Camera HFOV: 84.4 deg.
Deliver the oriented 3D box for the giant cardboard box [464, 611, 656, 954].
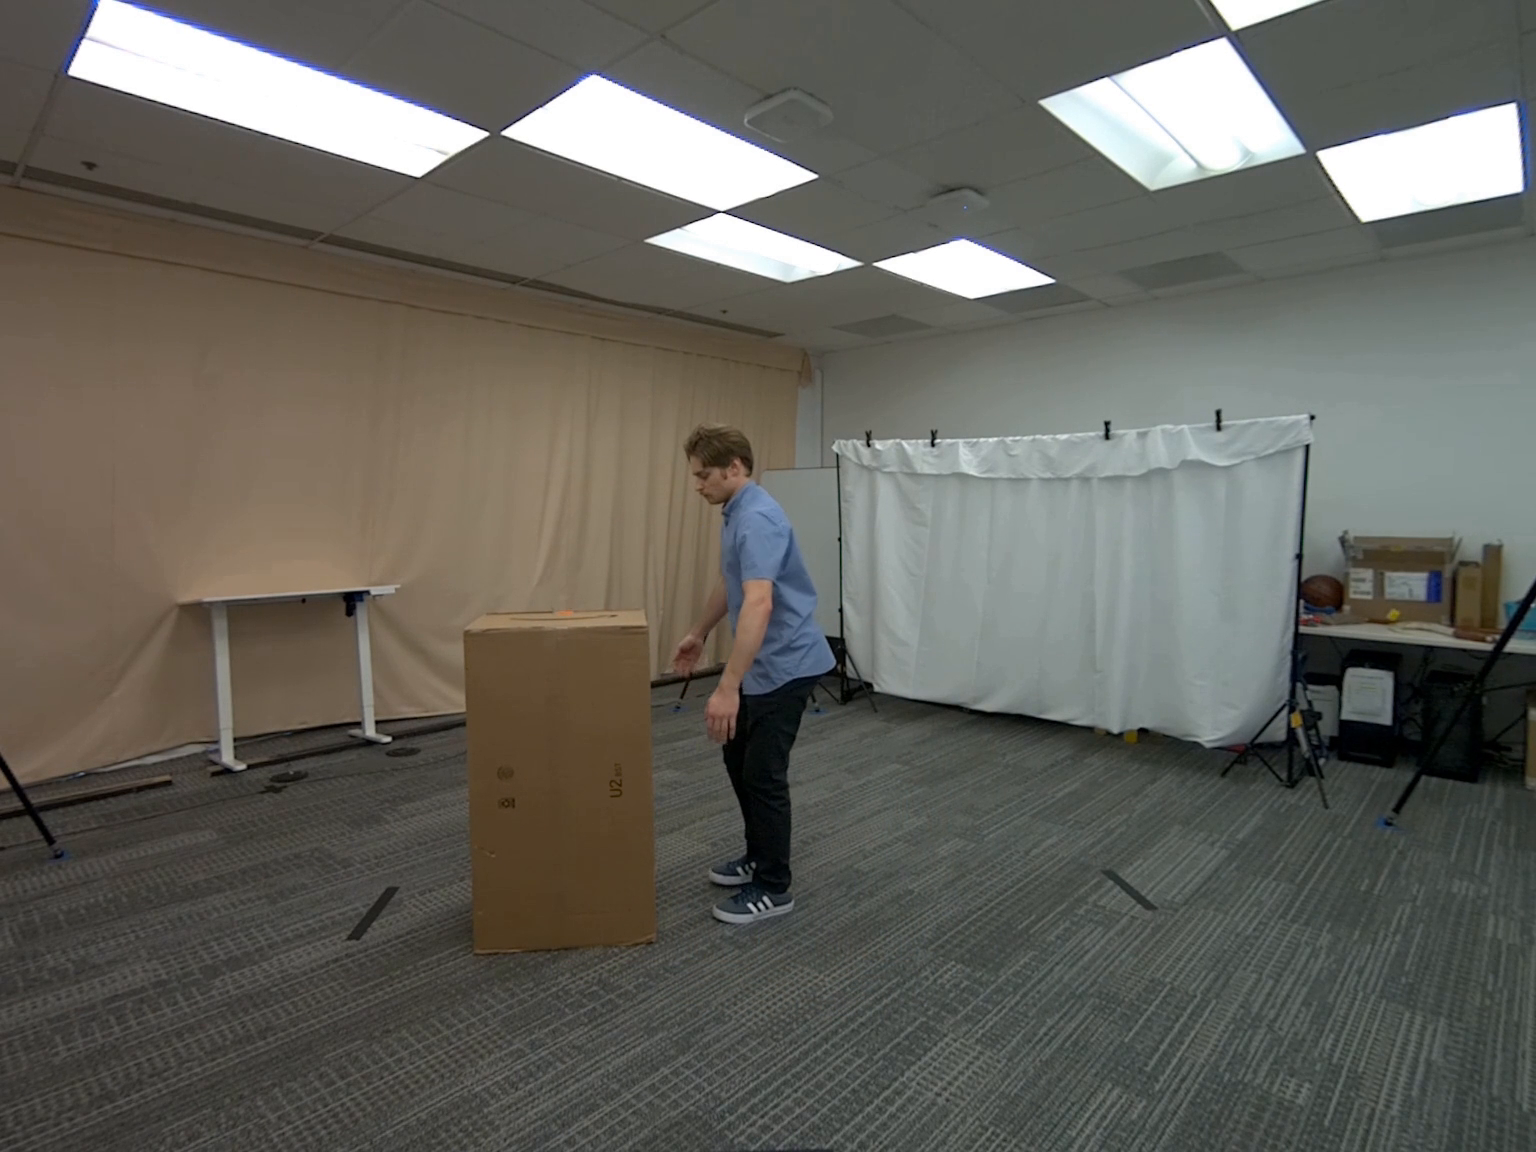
[{"bbox_3d":[-0.680,0.653,2.837,0.573,1.024,0.430,-1,3,-7],"label":"giant cardboard box"}]
